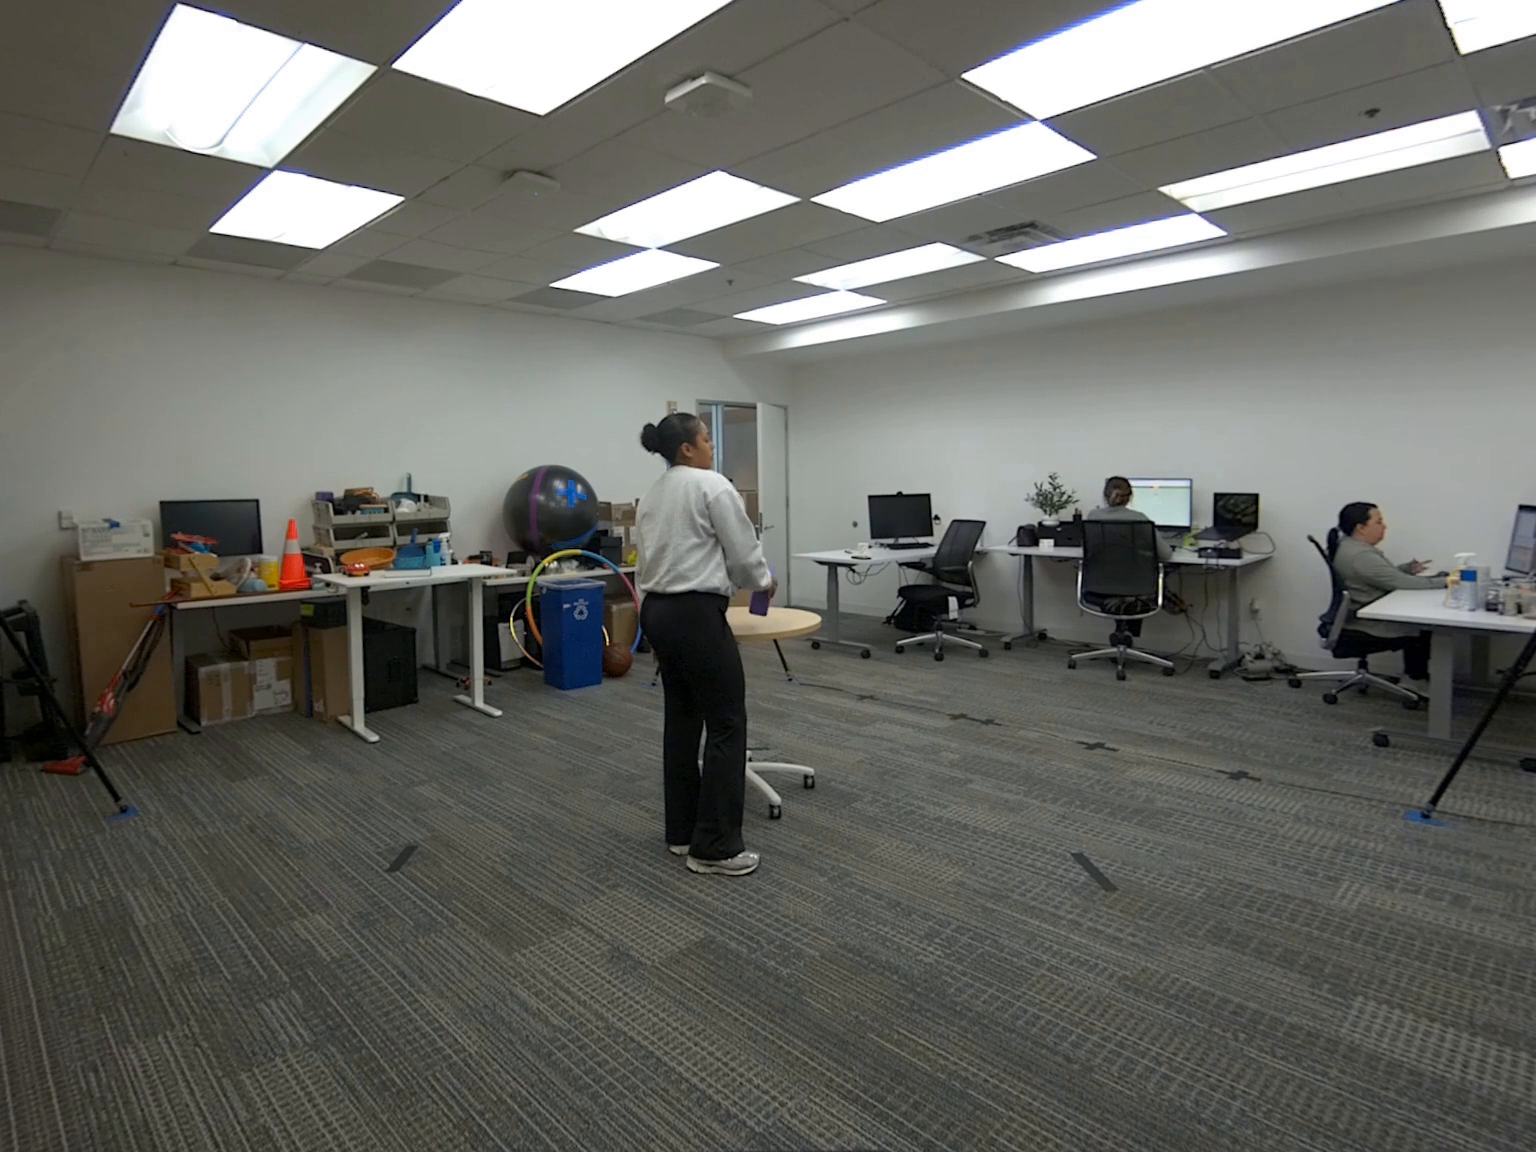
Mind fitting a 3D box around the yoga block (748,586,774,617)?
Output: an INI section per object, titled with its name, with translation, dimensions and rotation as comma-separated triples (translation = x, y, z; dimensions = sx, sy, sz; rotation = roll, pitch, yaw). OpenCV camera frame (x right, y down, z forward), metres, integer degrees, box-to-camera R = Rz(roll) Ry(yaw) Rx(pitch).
[yoga block]
translation = -0.014, 0.068, 3.496
dimensions = 0.077, 0.147, 0.231
rotation = 9, 14, 3
